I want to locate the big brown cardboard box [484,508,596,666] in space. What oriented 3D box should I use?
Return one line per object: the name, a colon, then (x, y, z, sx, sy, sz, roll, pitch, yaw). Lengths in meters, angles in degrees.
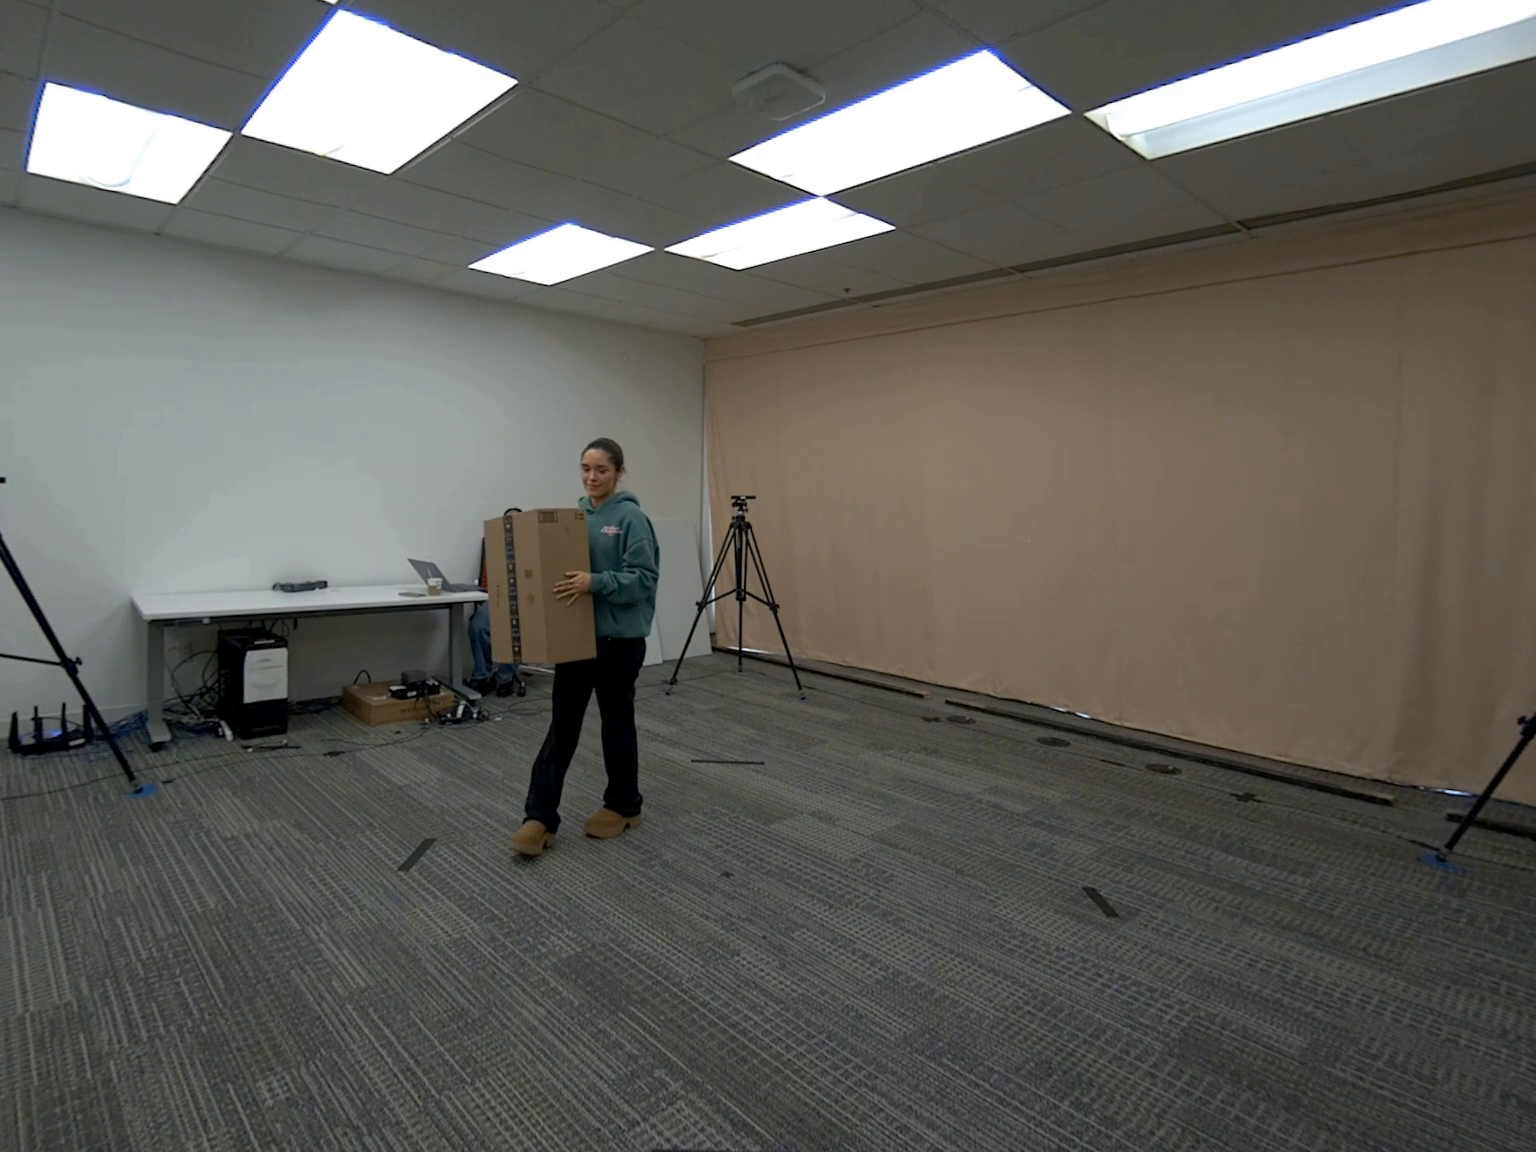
big brown cardboard box: (-0.891, 0.044, 3.244, 0.228, 0.589, 0.426, -4, -1, -44)
